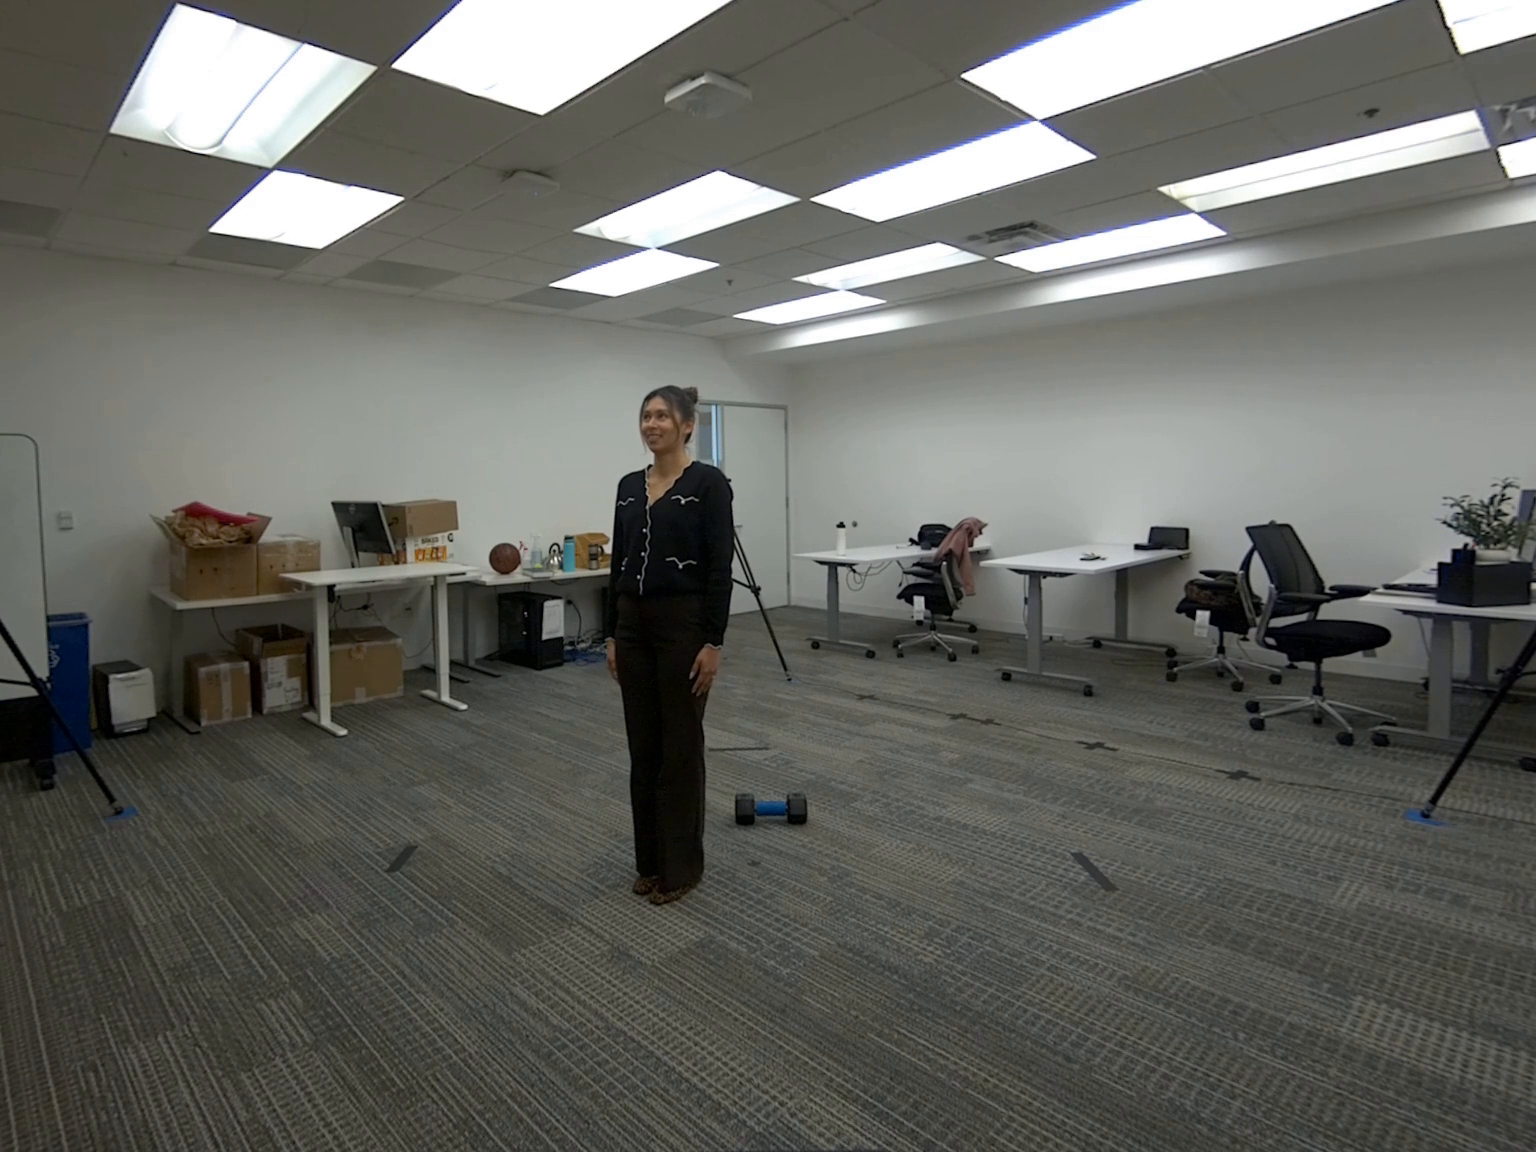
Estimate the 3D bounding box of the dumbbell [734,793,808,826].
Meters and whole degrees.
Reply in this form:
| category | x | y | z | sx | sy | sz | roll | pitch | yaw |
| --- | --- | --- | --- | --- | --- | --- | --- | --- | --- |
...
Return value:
| category | x | y | z | sx | sy | sz | roll | pitch | yaw |
| --- | --- | --- | --- | --- | --- | --- | --- | --- | --- |
| dumbbell | 0.011 | 0.949 | 3.481 | 0.293 | 0.125 | 0.106 | -1 | -24 | 0 |
